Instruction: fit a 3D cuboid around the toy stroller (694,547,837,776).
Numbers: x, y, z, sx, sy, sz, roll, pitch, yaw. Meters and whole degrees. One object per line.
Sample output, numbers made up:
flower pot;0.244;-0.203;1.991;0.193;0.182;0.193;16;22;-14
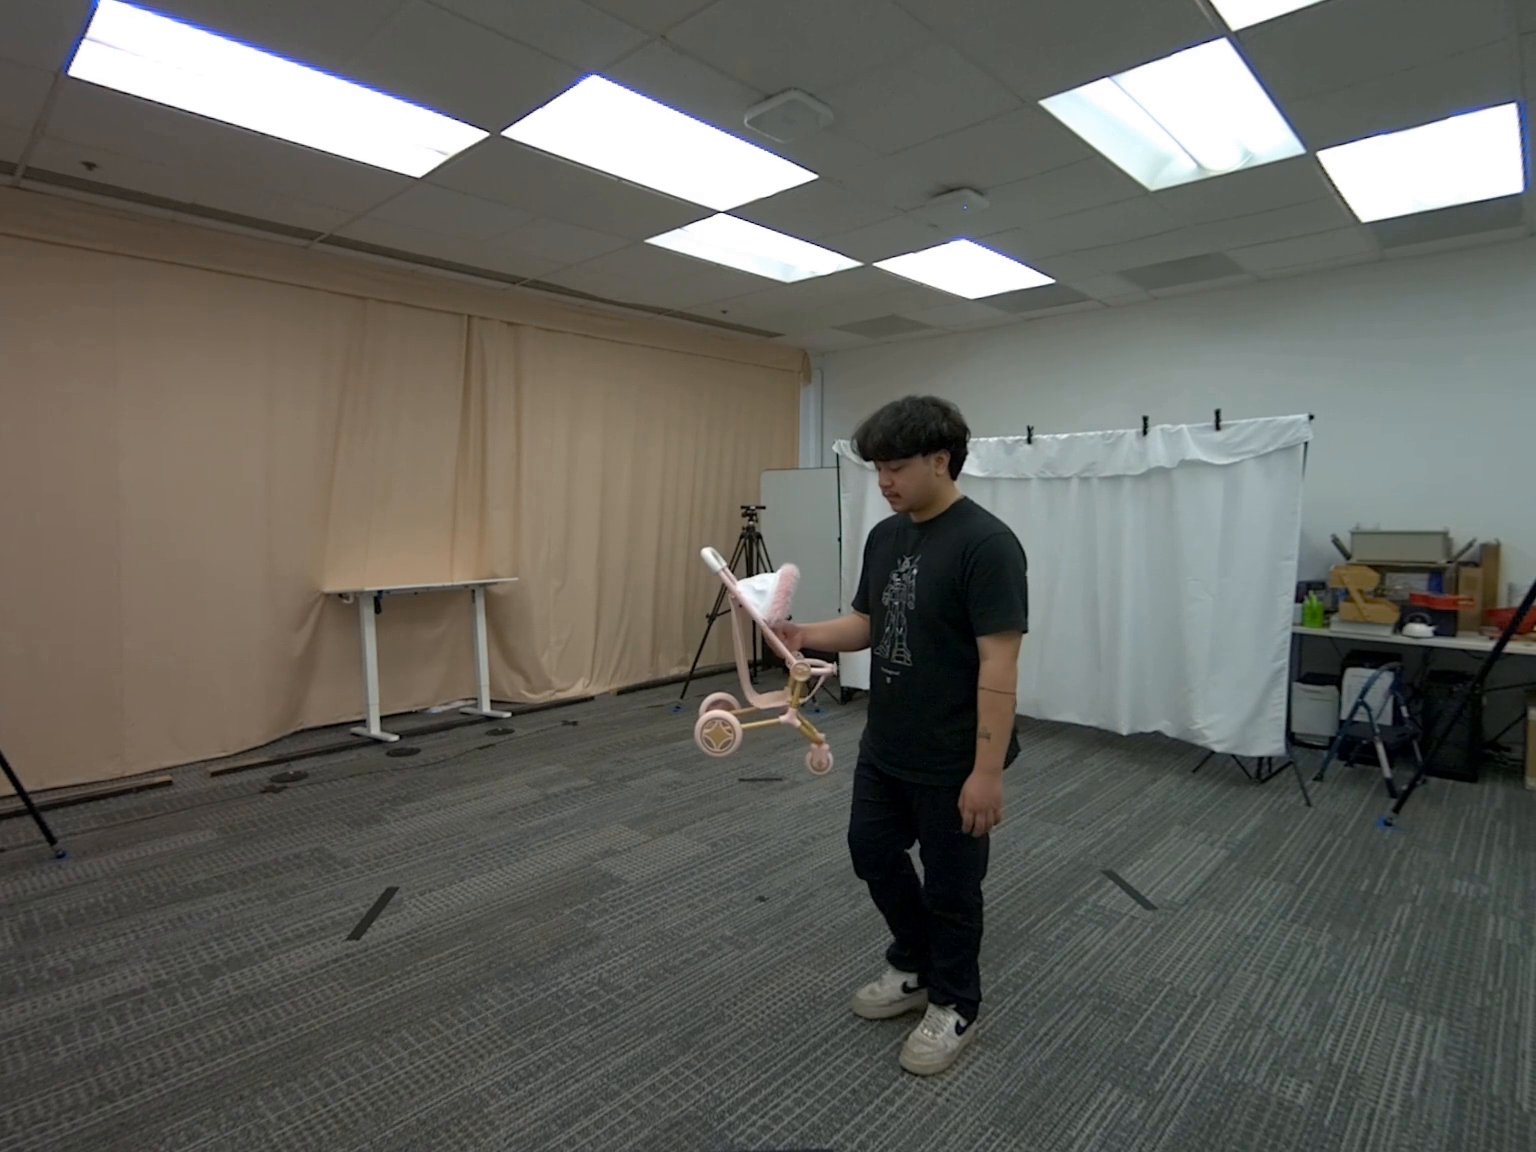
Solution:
toy stroller;0.007;0.210;2.031;0.343;0.535;0.280;2;1;4
